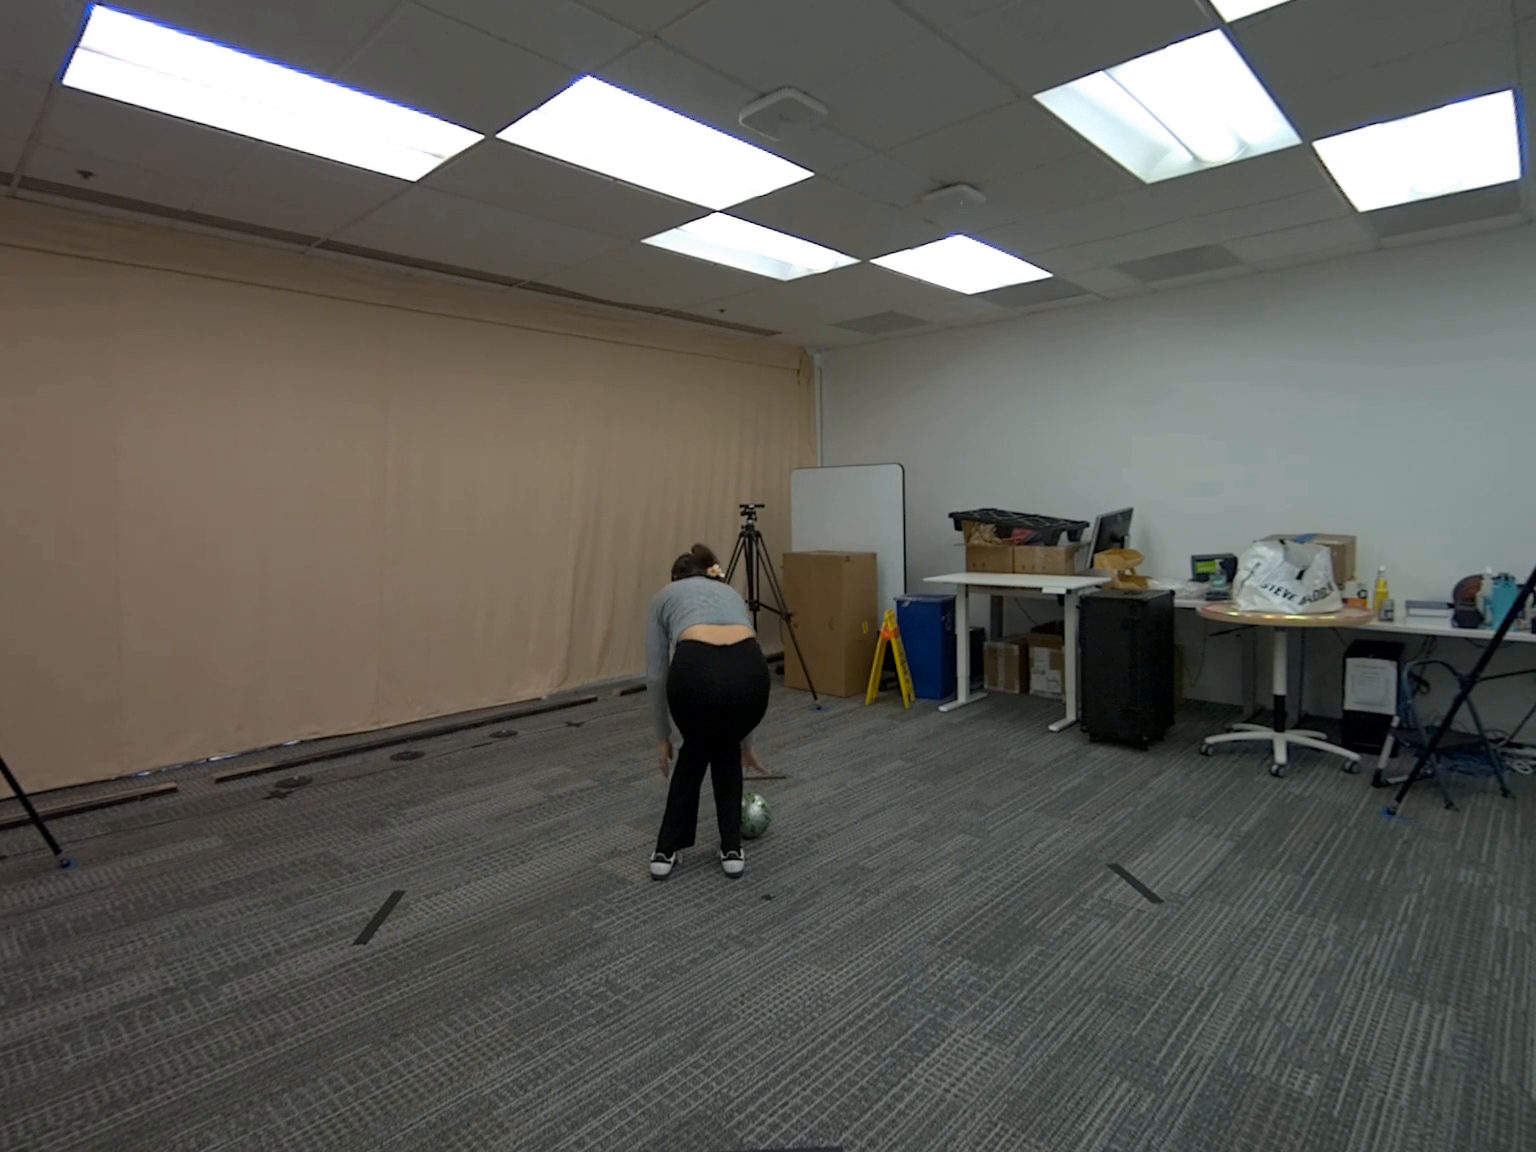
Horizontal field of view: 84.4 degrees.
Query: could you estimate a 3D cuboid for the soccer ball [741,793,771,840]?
[{"bbox_3d":[-0.072,0.996,3.542,0.187,0.187,0.188,-1,4,-2],"label":"soccer ball"}]
